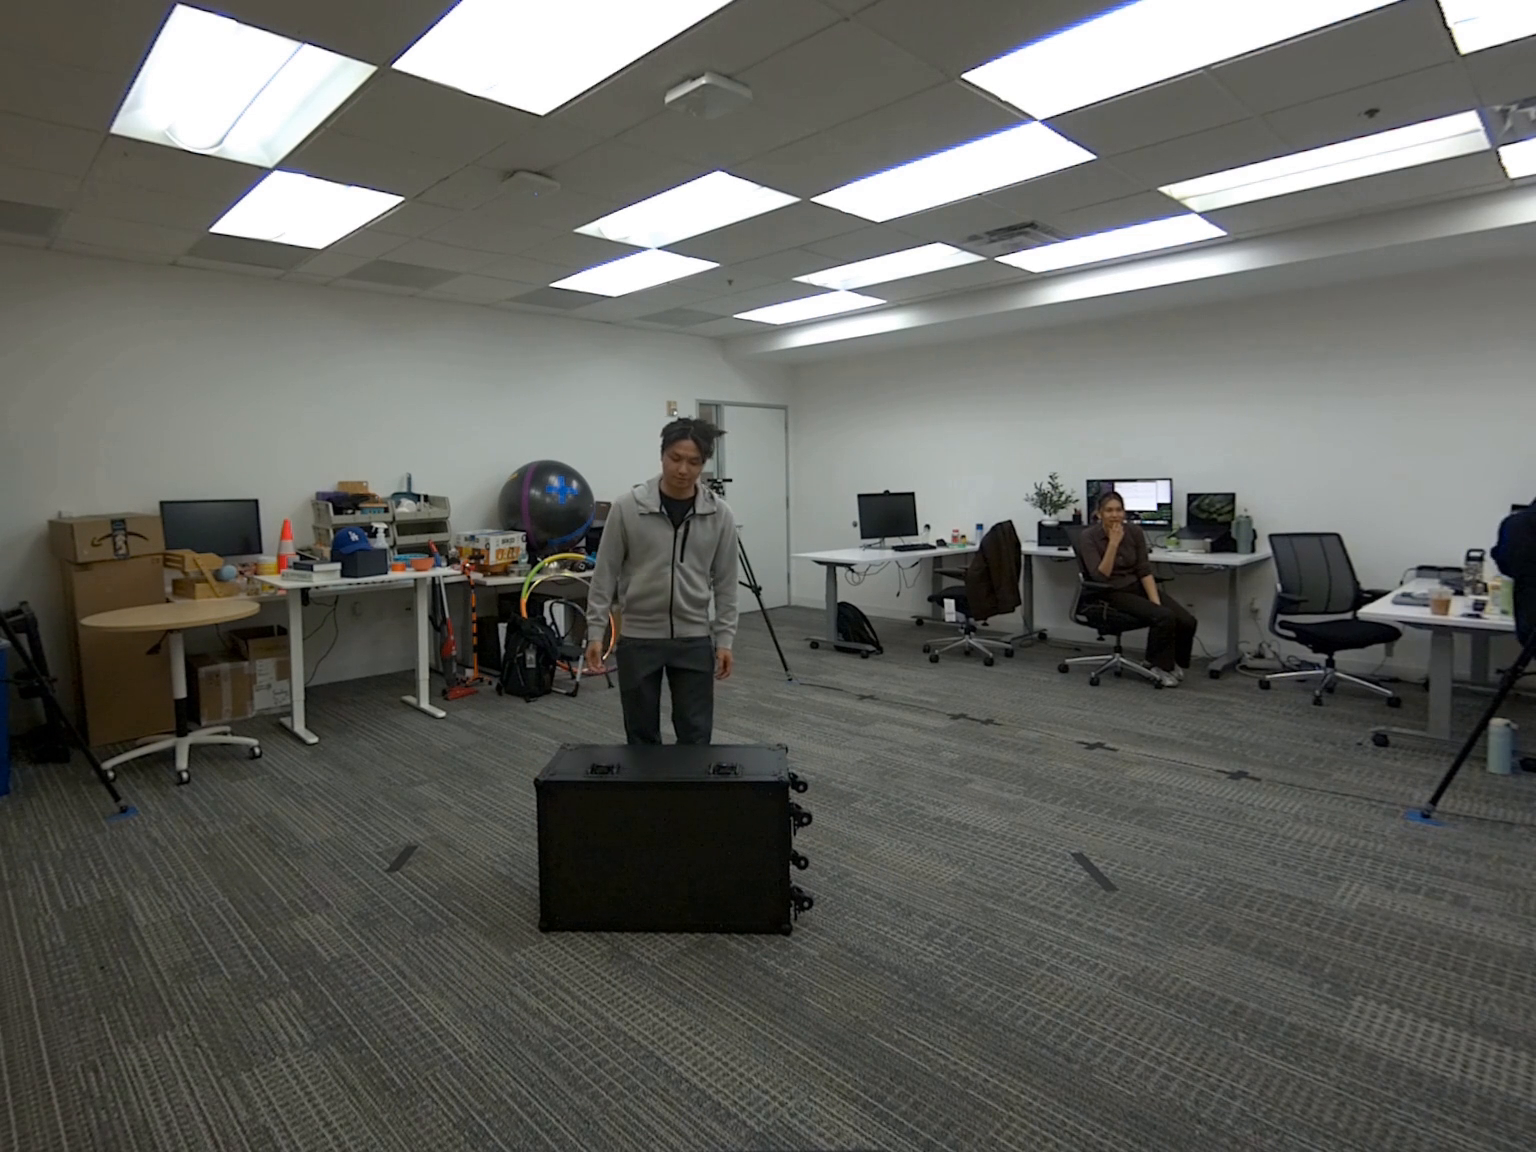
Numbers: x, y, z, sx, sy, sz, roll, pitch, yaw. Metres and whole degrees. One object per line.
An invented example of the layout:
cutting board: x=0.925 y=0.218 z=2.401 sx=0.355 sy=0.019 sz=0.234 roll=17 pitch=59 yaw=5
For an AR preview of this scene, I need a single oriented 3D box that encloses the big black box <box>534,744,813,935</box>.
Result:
big black box: x=-0.289 y=0.838 z=2.808 sx=0.865 sy=0.519 sz=0.396 roll=-1 pitch=4 yaw=4
